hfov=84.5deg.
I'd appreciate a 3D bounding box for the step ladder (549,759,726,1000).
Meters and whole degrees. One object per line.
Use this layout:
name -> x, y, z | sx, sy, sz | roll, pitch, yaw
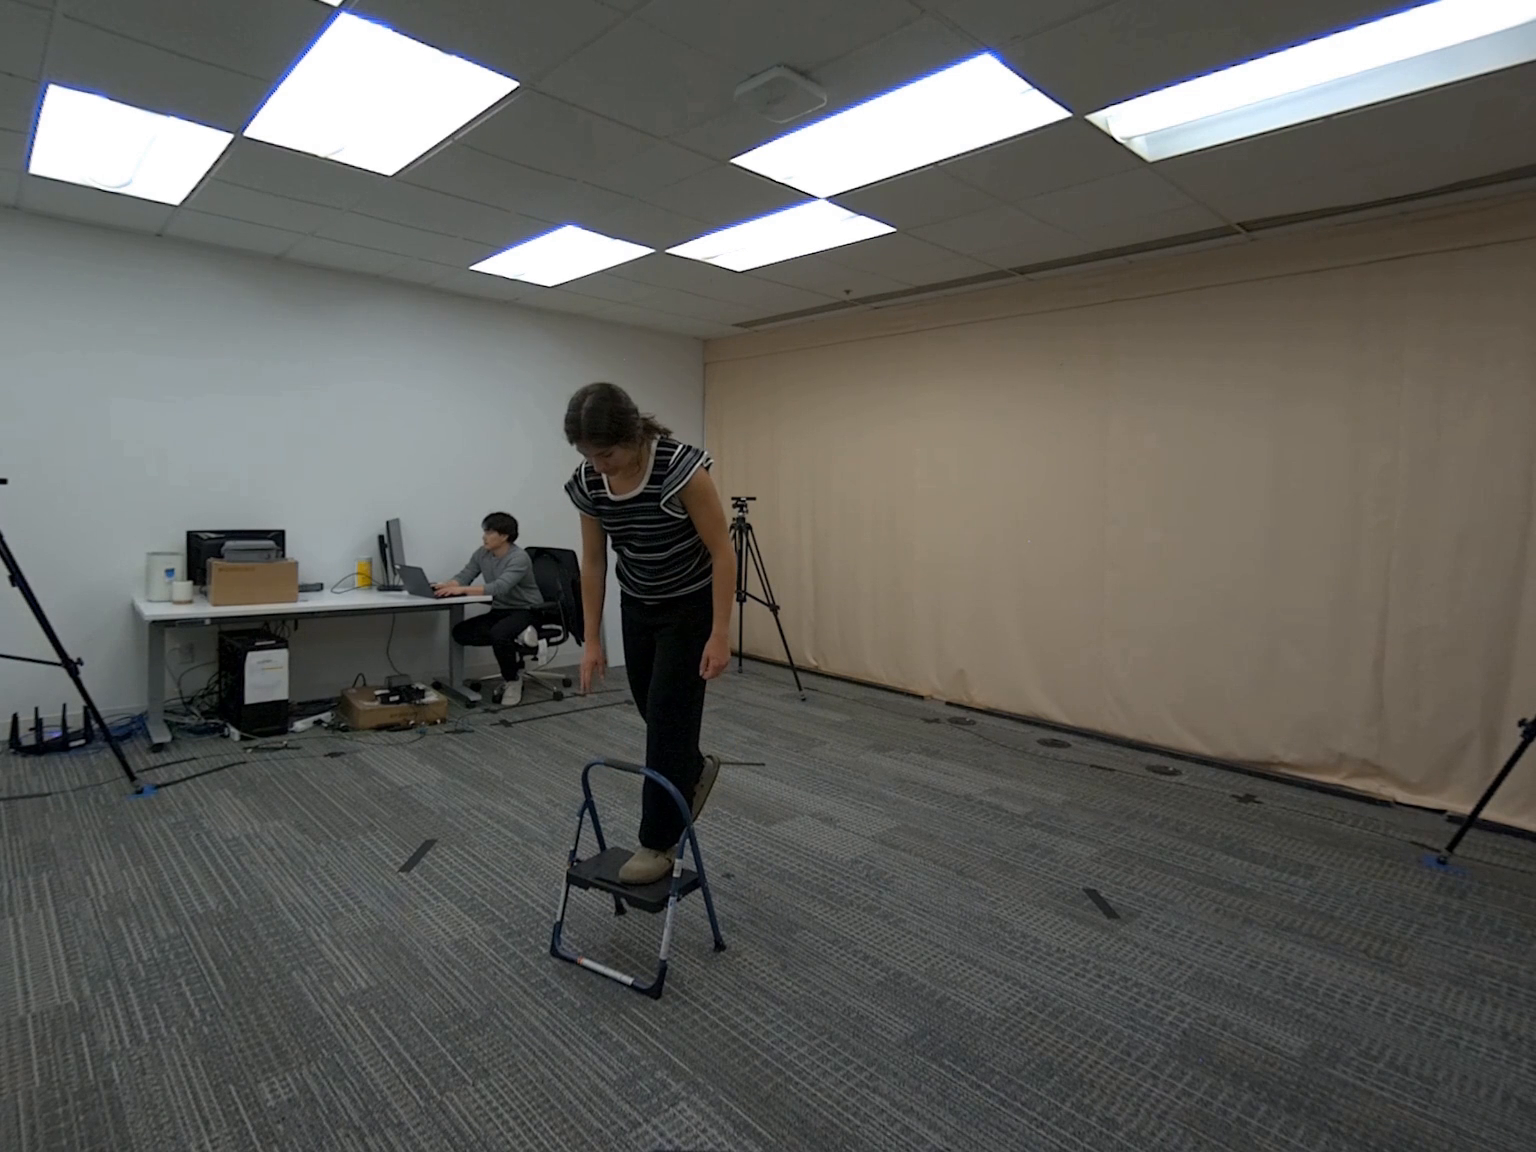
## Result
step ladder -> -0.401, 0.851, 2.559 | 0.440, 0.605, 0.342 | 3, 4, 31
